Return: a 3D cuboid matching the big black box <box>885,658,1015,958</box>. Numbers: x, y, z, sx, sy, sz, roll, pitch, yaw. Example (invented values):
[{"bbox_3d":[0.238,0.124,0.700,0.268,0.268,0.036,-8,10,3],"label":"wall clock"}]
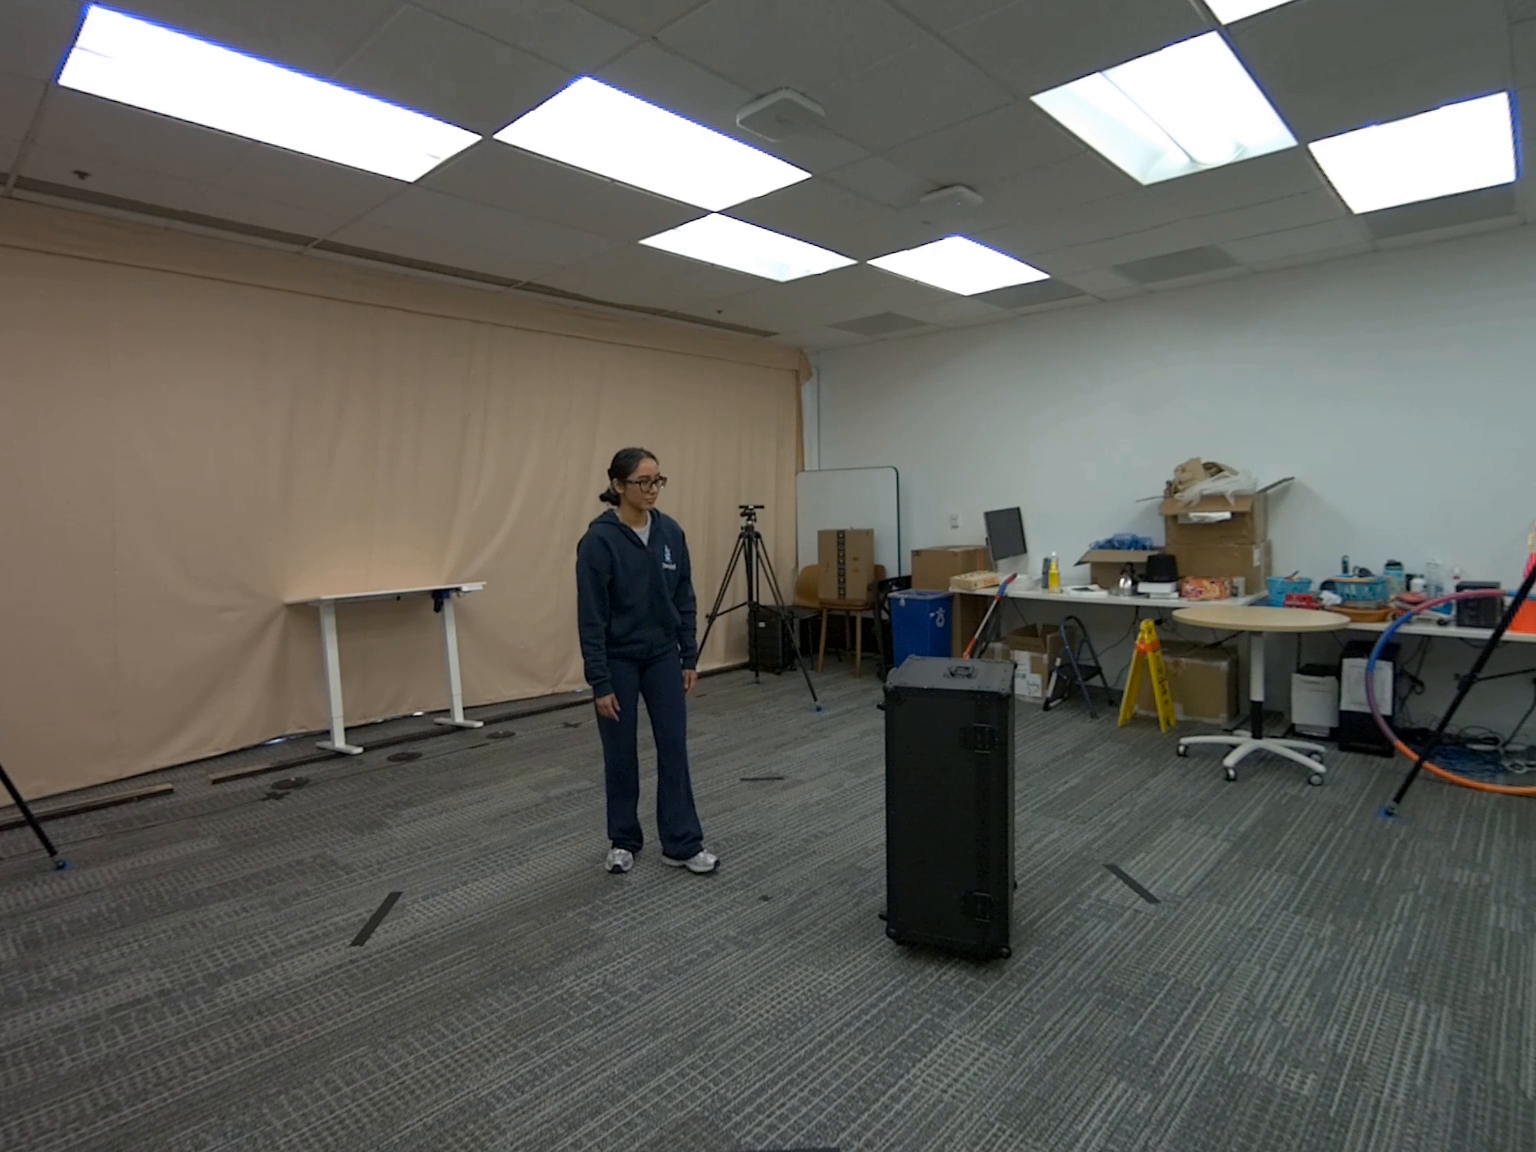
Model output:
[{"bbox_3d":[0.588,0.731,2.692,0.405,0.859,0.511,-1,4,20],"label":"big black box"}]
